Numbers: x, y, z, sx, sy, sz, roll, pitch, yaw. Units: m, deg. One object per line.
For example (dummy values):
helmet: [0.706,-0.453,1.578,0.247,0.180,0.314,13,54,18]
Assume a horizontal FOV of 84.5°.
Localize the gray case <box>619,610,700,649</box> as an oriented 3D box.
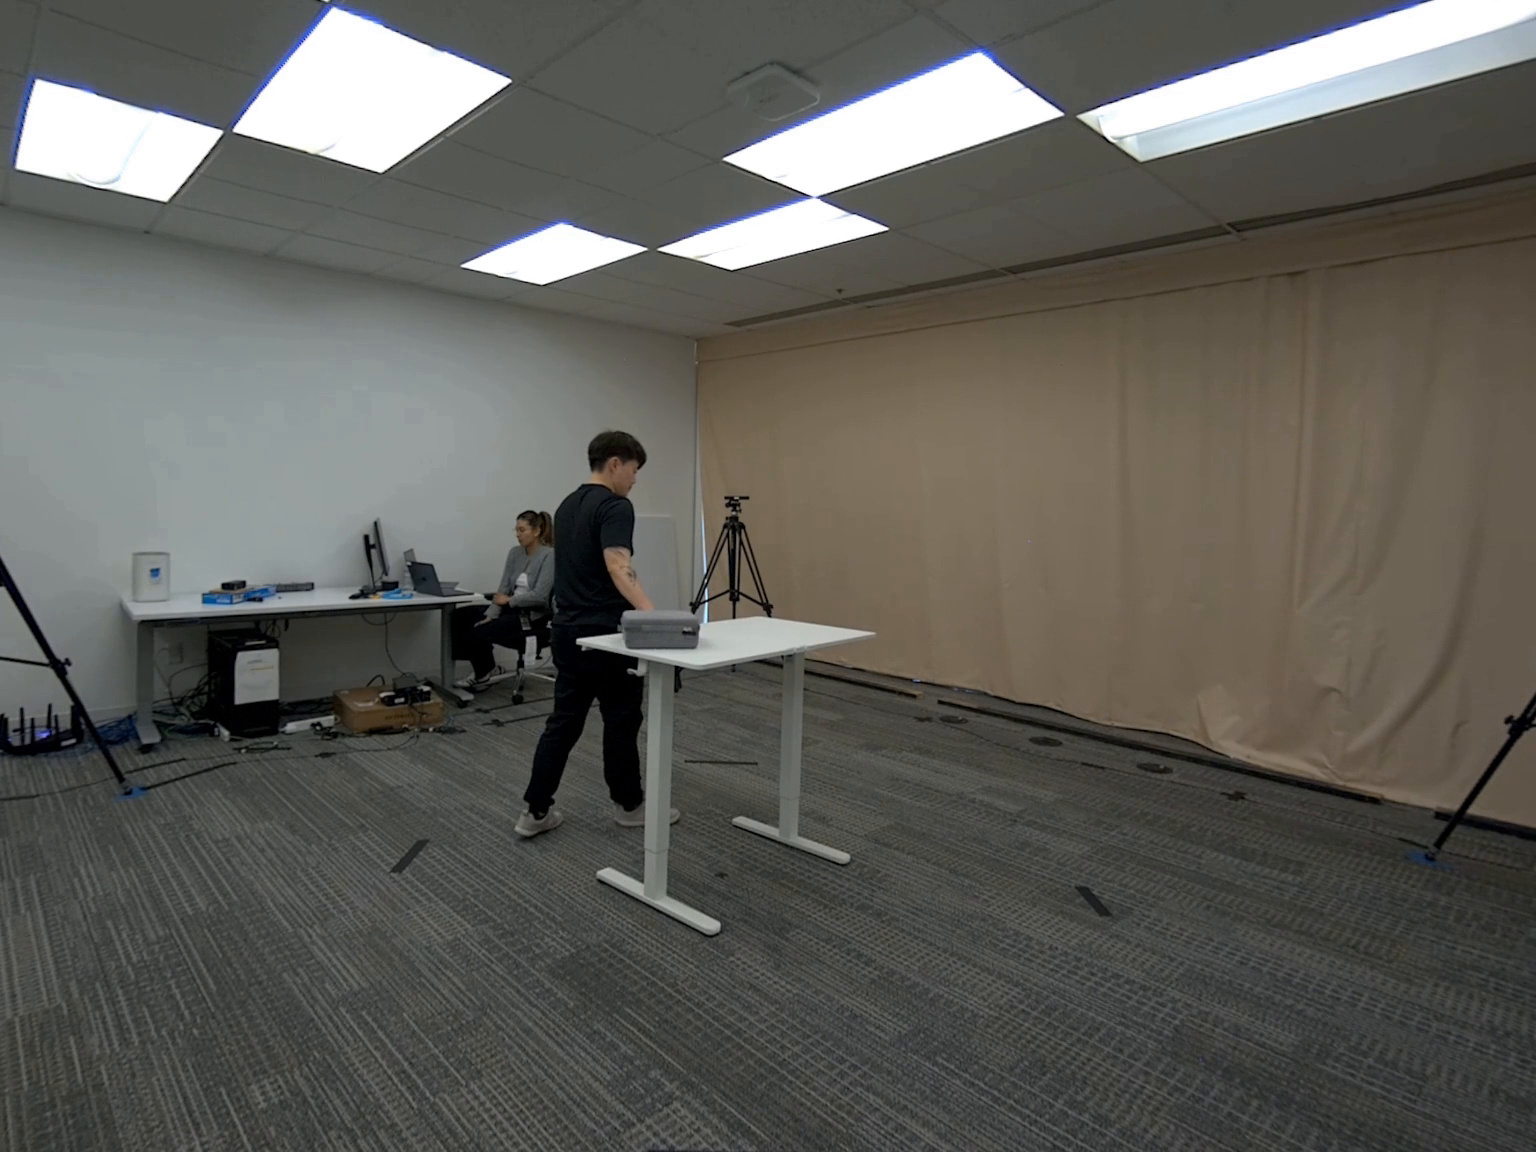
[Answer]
gray case: [-0.382,0.182,2.894,0.255,0.104,0.263,-1,4,-10]
